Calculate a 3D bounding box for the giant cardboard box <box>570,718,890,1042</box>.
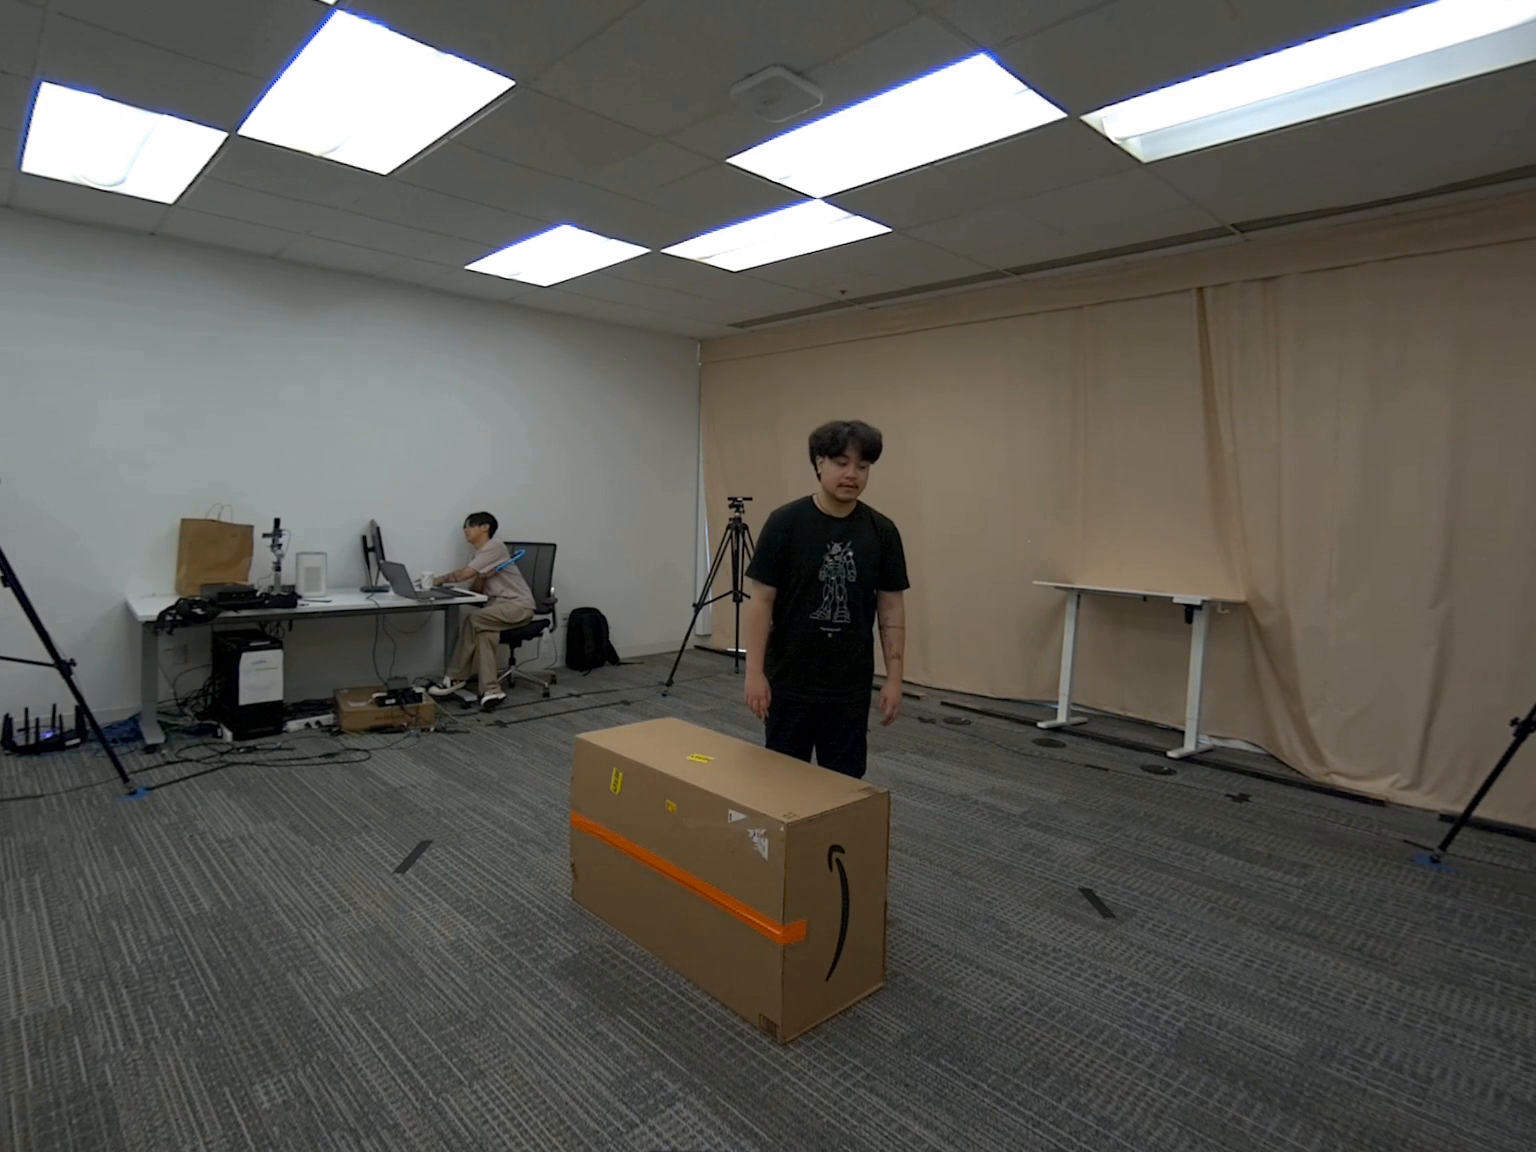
[{"bbox_3d":[-0.174,0.865,2.640,0.437,0.582,1.053,-3,6,-43],"label":"giant cardboard box"}]
